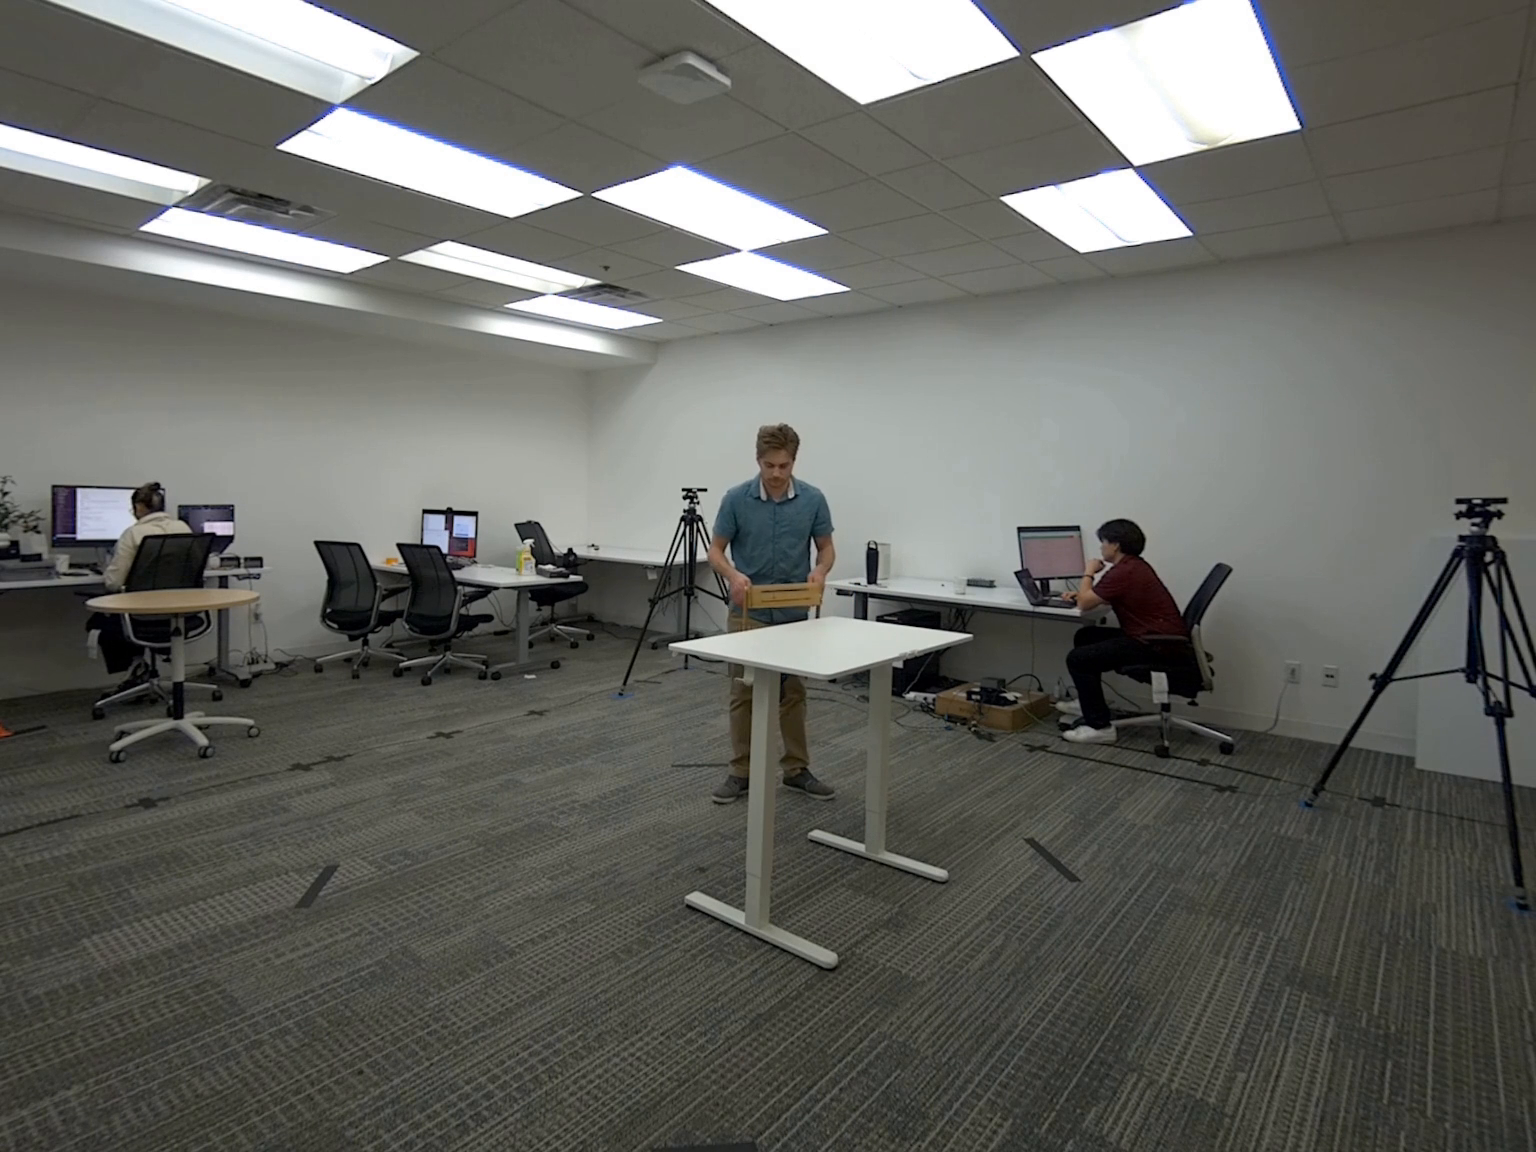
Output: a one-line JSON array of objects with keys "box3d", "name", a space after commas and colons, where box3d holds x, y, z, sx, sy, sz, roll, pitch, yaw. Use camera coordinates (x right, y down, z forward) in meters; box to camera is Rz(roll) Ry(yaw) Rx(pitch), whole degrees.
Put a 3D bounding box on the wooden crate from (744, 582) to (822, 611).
[{"box3d": [0.044, 0.155, 3.654, 0.322, 0.274, 0.304, -2, -1, -9], "name": "wooden crate"}]
